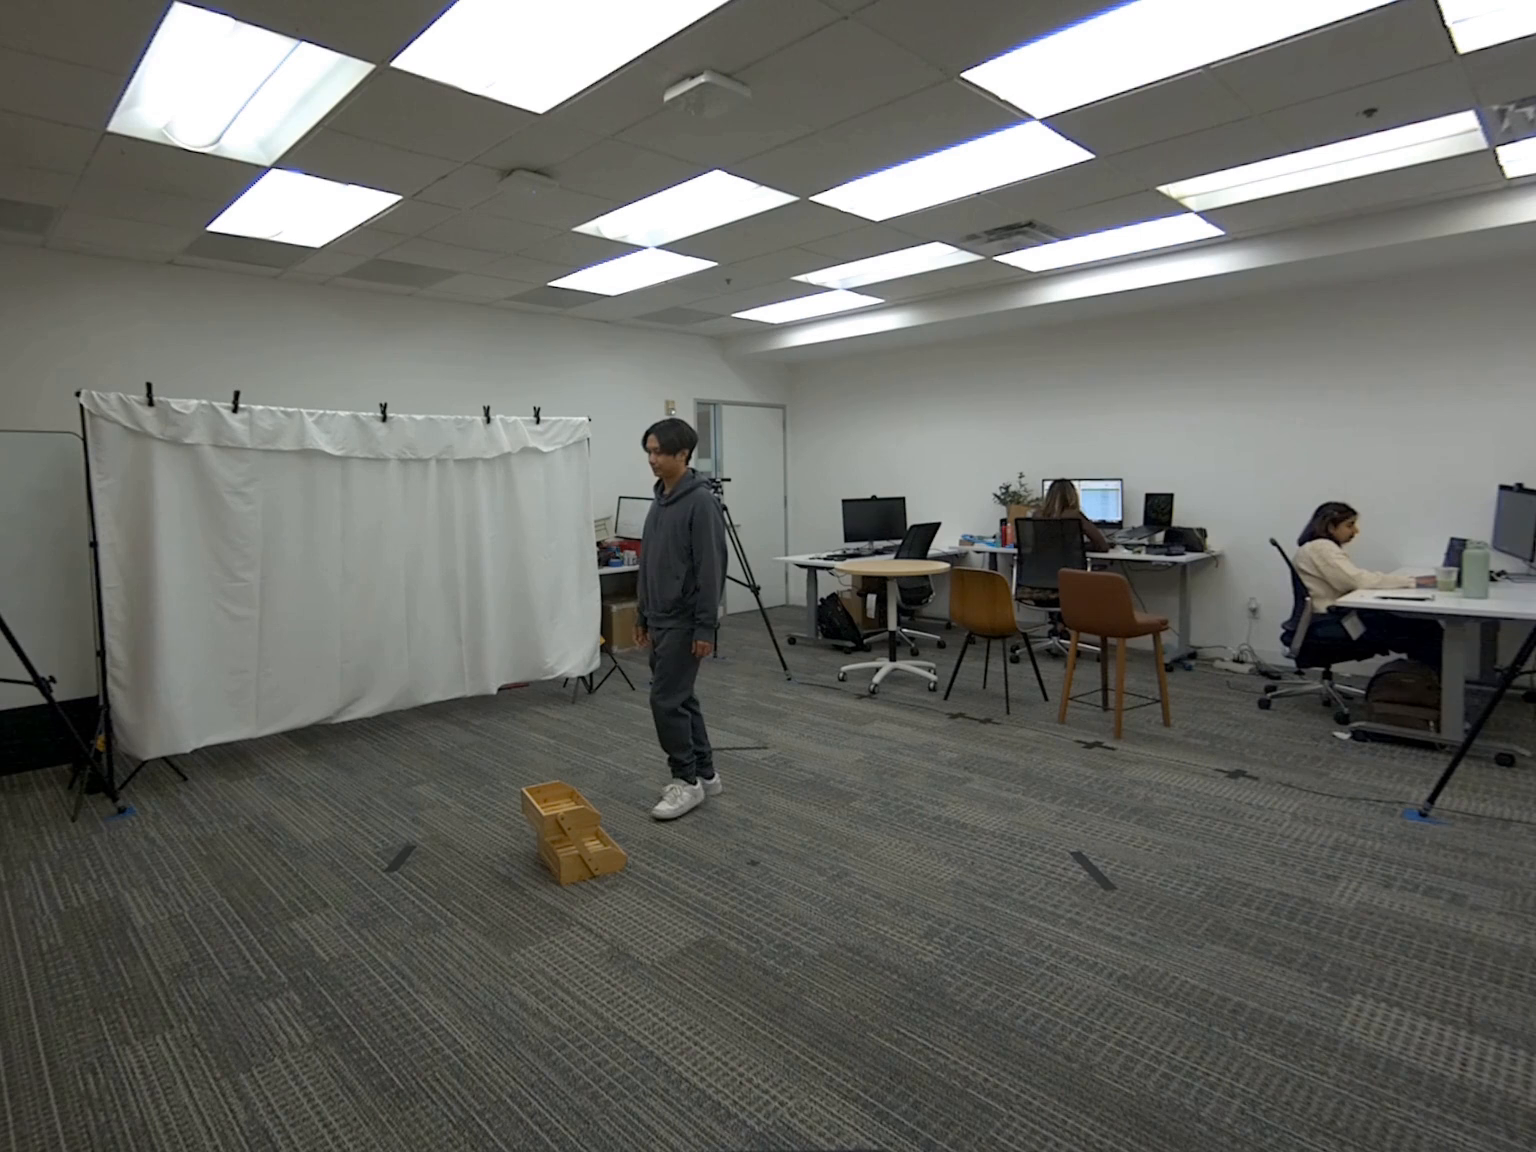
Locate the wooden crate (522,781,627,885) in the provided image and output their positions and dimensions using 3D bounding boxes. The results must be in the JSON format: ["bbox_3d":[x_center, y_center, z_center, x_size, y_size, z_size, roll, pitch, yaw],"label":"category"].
[{"bbox_3d":[-0.712,0.917,3.133,0.295,0.272,0.333,-5,7,-29],"label":"wooden crate"}]
